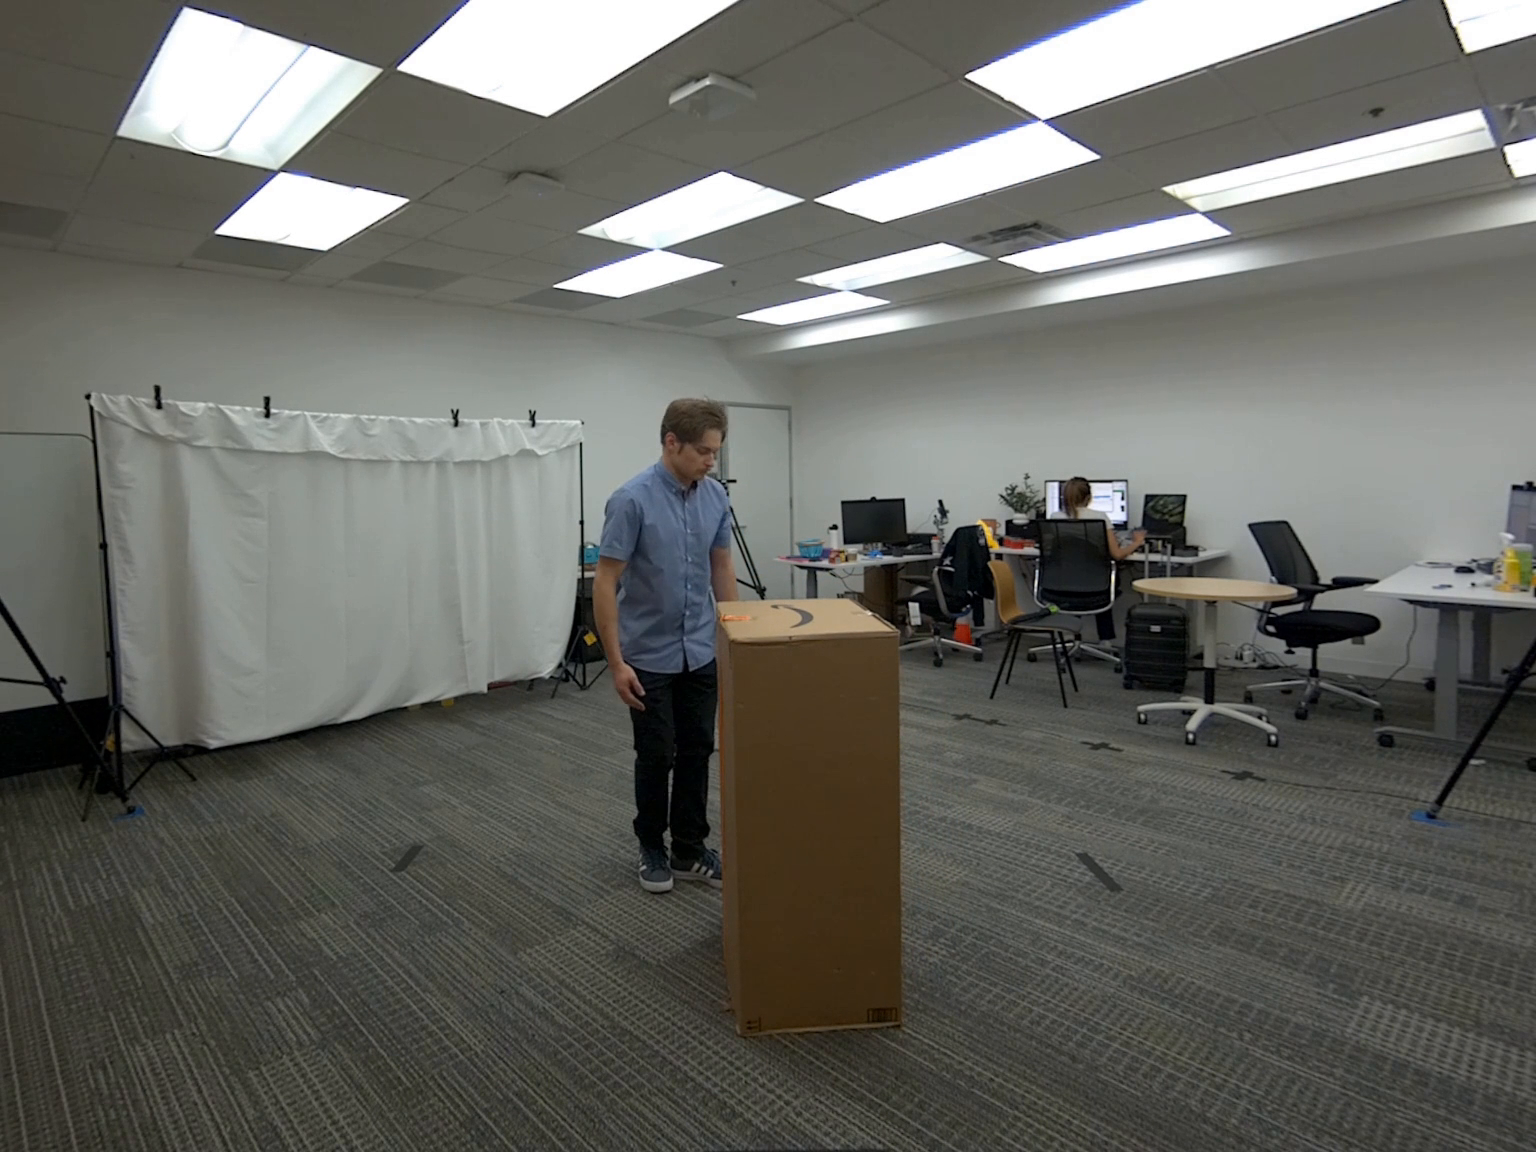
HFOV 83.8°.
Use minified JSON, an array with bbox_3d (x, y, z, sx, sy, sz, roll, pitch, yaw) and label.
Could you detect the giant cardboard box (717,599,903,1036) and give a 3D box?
[{"bbox_3d":[0.095,0.621,2.401,0.424,1.021,0.583,-2,5,-5],"label":"giant cardboard box"}]
